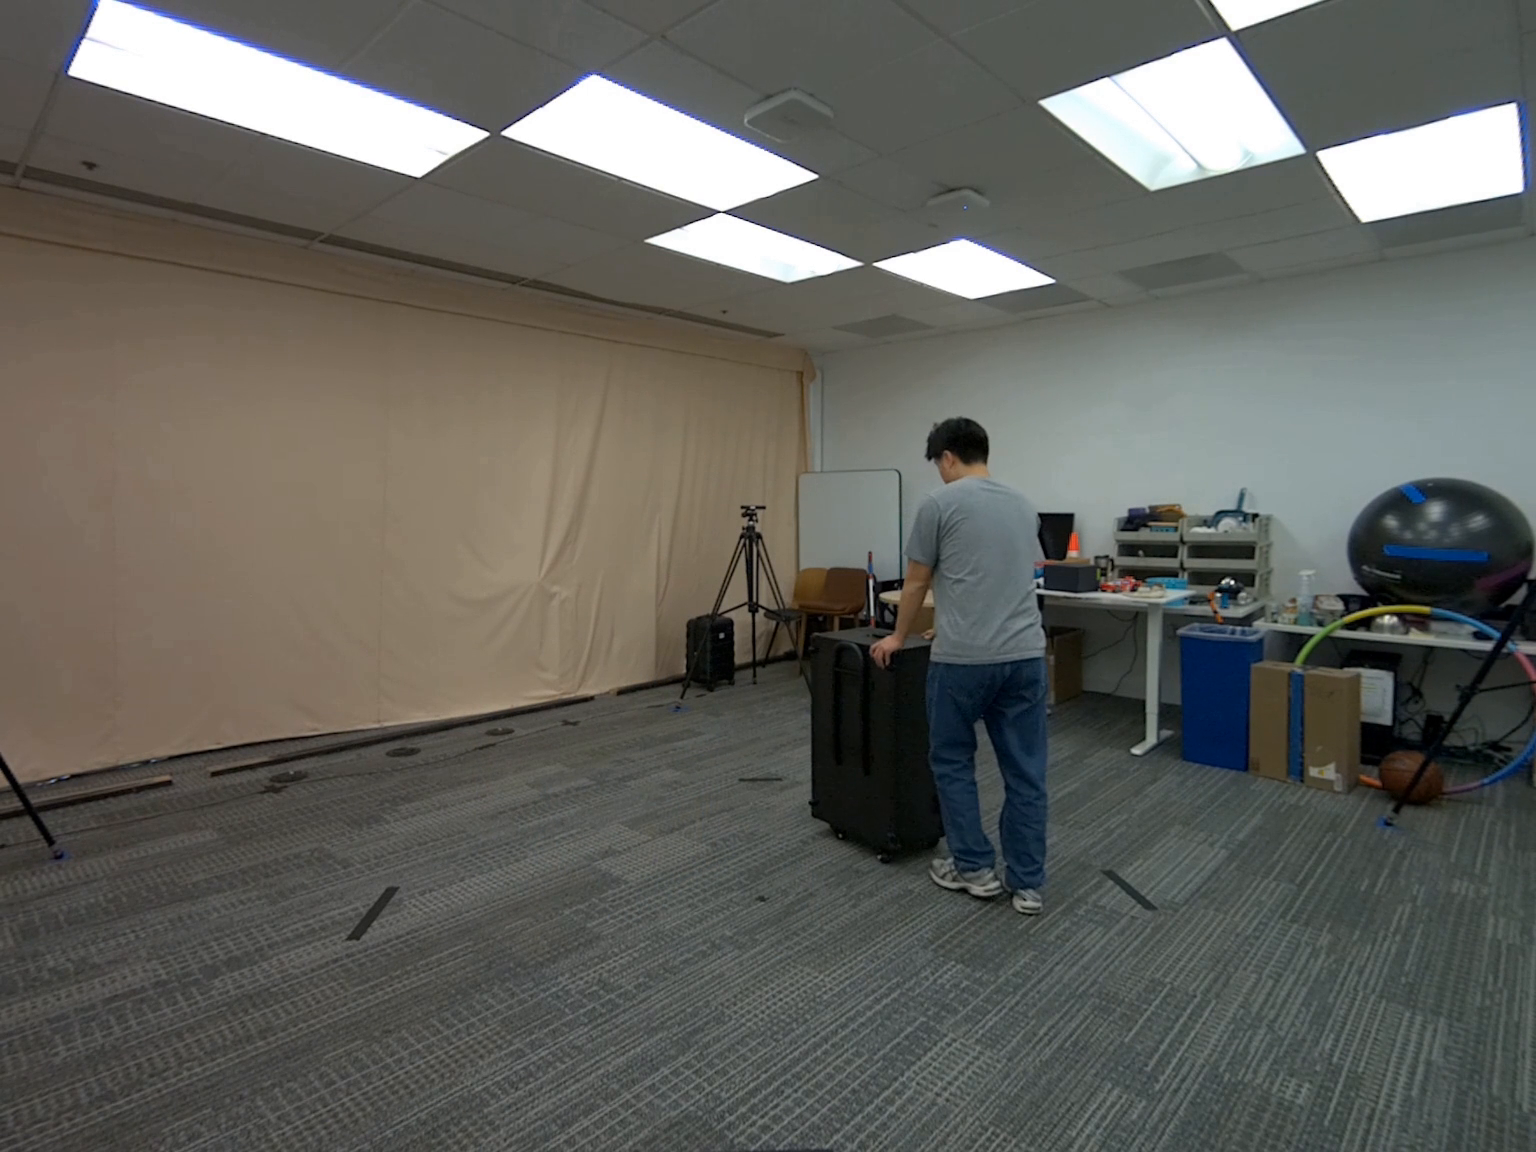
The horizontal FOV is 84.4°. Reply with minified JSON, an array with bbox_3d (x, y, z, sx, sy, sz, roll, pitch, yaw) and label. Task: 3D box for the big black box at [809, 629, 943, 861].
[{"bbox_3d":[0.463,0.678,3.469,0.384,0.859,0.538,-4,5,-38],"label":"big black box"}]
